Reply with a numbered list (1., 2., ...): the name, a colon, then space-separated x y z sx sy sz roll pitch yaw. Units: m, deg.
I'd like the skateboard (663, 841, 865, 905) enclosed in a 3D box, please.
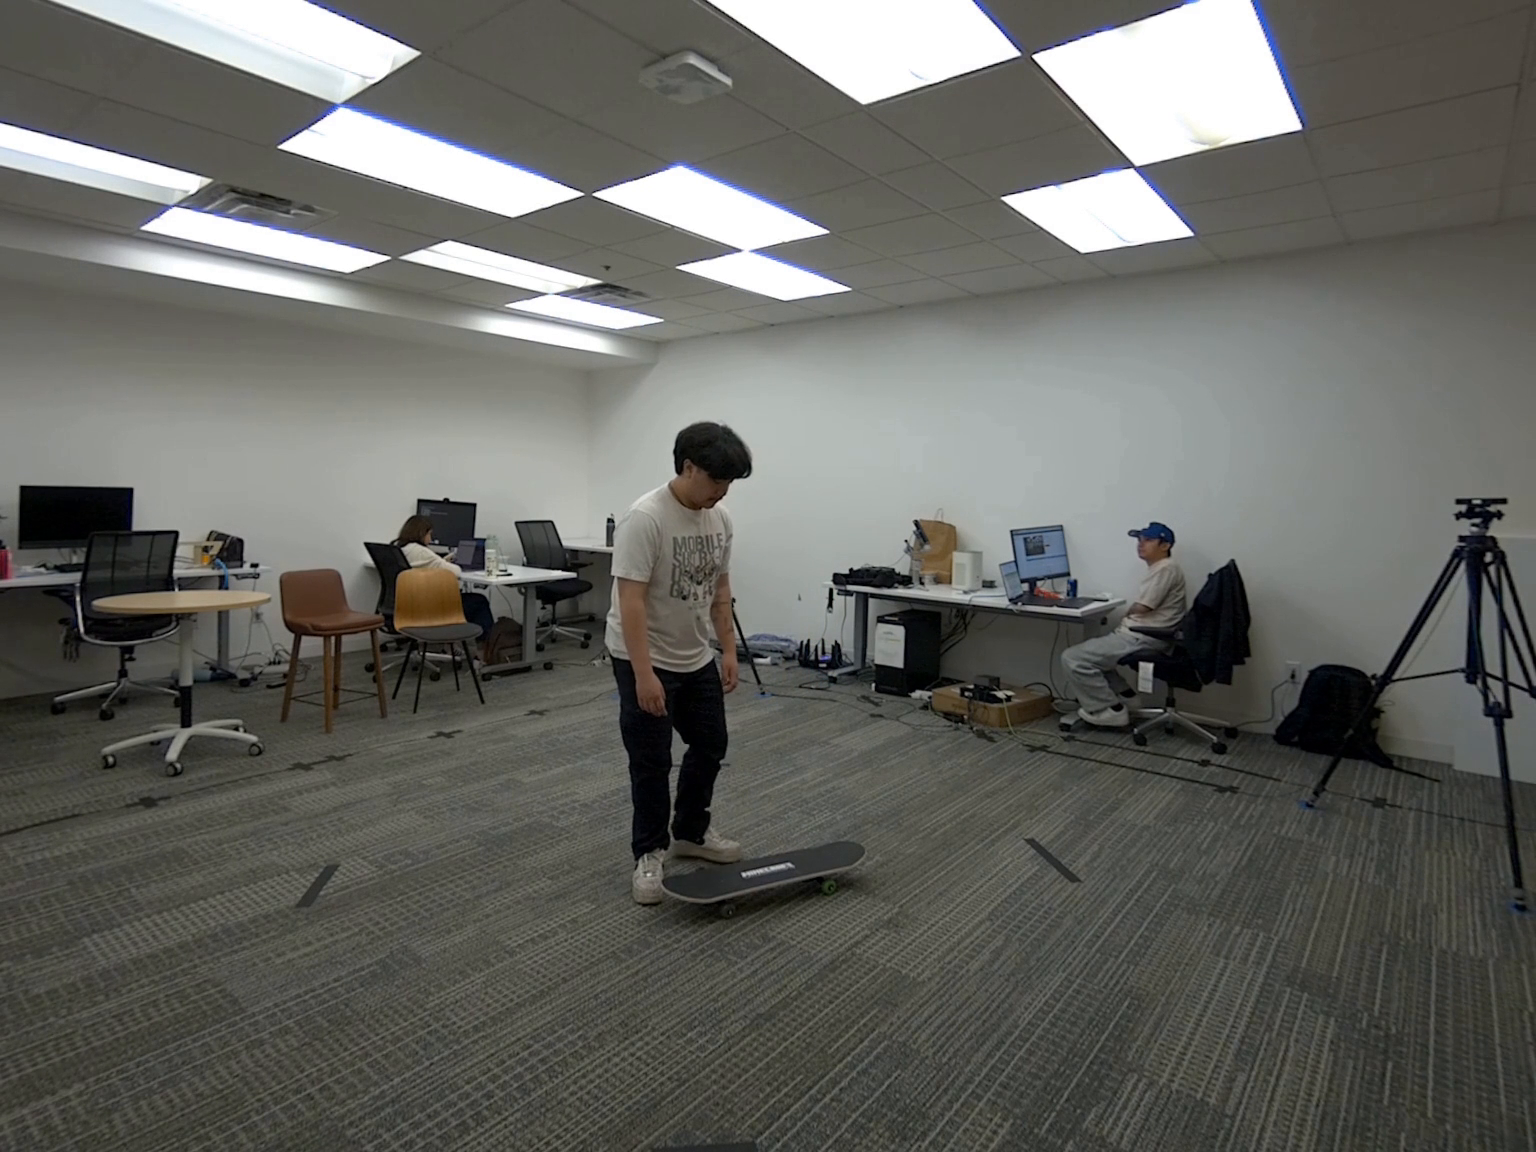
1. skateboard: -0.003 1.036 2.918 0.765 0.110 0.199 -2 6 -28
